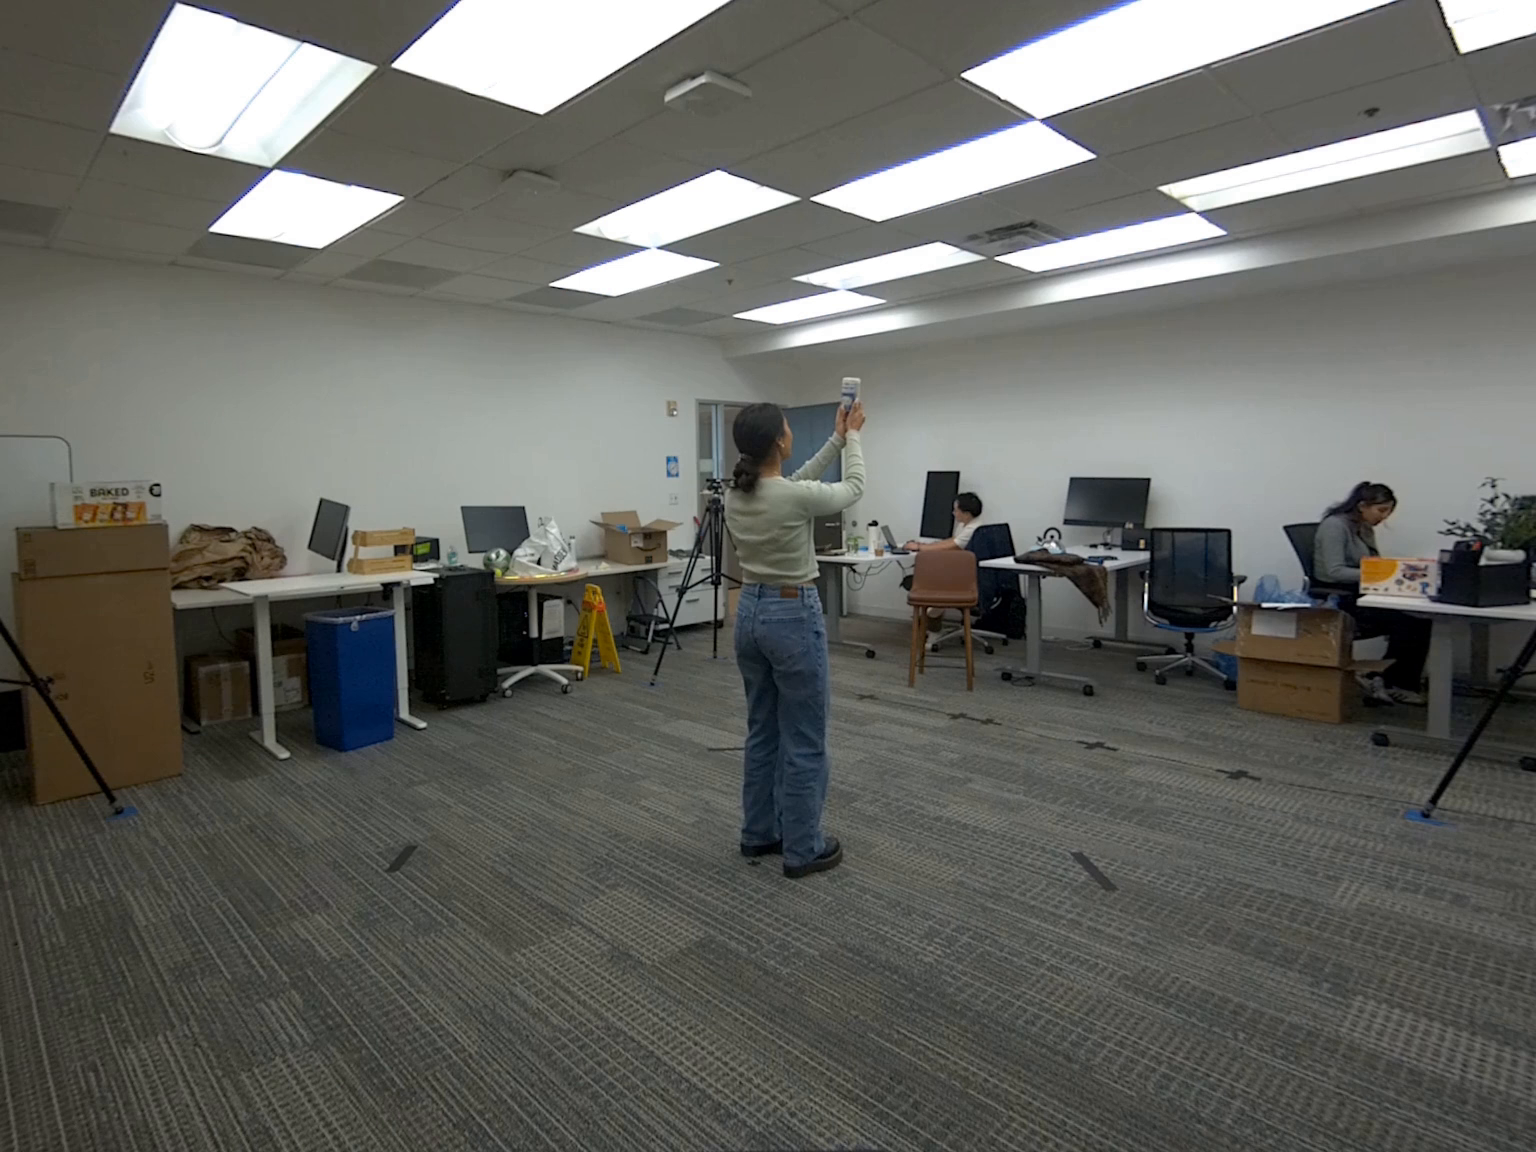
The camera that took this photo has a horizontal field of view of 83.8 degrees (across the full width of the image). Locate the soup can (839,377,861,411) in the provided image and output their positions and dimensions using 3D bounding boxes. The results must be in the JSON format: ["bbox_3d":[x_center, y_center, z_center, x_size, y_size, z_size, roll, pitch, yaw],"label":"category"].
[{"bbox_3d":[0.309,-0.680,3.195,0.067,0.120,0.068,3,9,-2],"label":"soup can"}]
